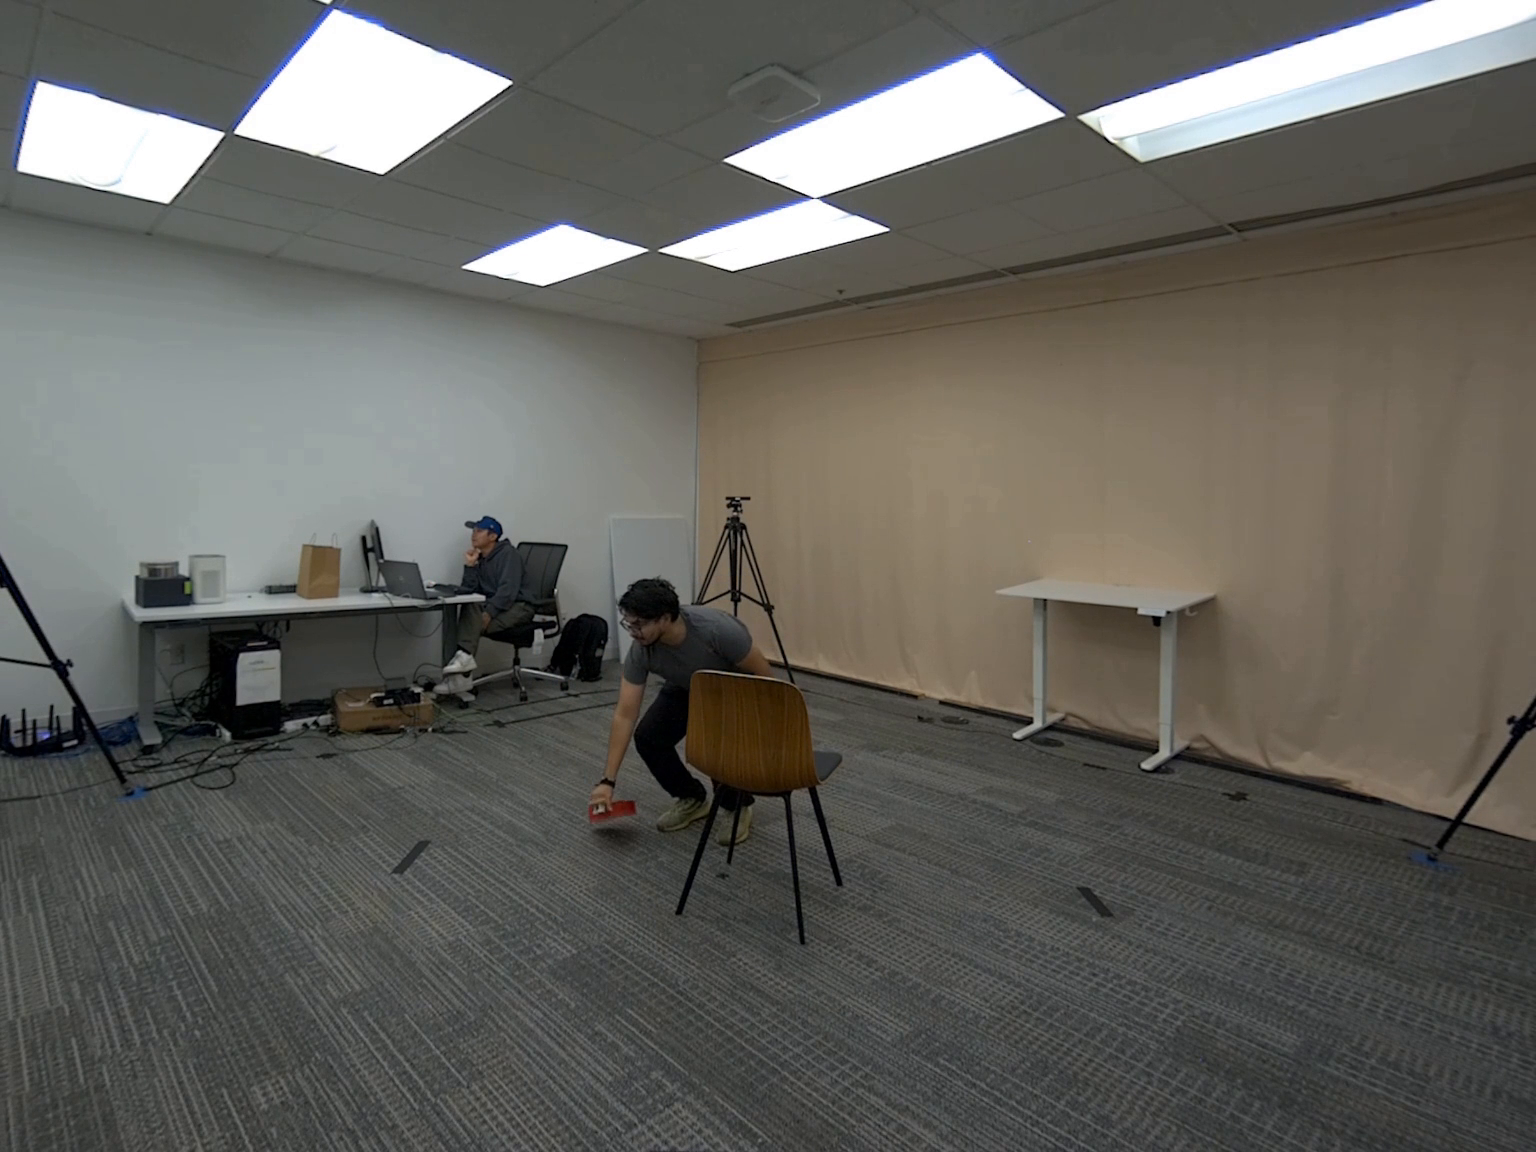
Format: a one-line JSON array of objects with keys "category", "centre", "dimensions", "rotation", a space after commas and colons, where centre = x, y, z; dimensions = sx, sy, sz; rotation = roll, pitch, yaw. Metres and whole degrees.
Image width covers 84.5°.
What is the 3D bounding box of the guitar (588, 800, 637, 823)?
[{"category": "guitar", "centre": [-0.675, 0.932, 3.333], "dimensions": [0.193, 0.072, 0.489], "rotation": [-11, -15, 4]}]
